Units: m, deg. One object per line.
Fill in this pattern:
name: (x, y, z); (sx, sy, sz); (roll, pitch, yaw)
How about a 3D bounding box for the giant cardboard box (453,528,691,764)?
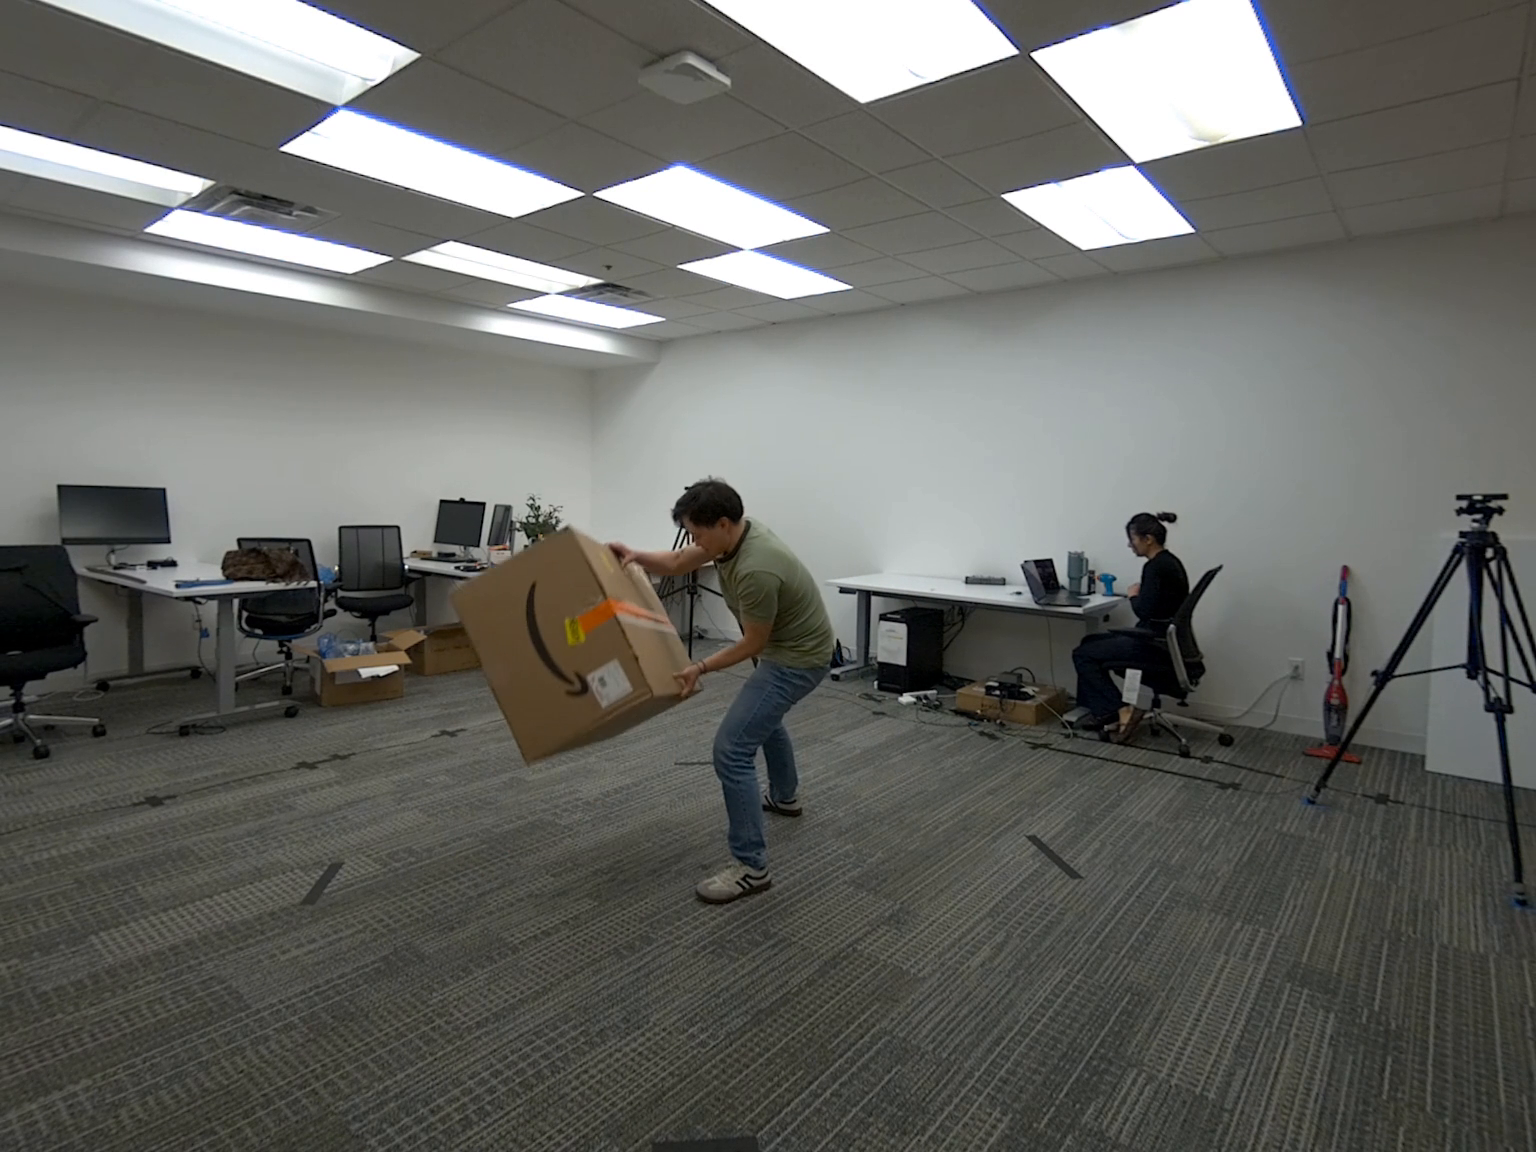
giant cardboard box: (-0.615, 0.238, 2.990); (0.426, 0.586, 1.011); (-29, -8, 1)
